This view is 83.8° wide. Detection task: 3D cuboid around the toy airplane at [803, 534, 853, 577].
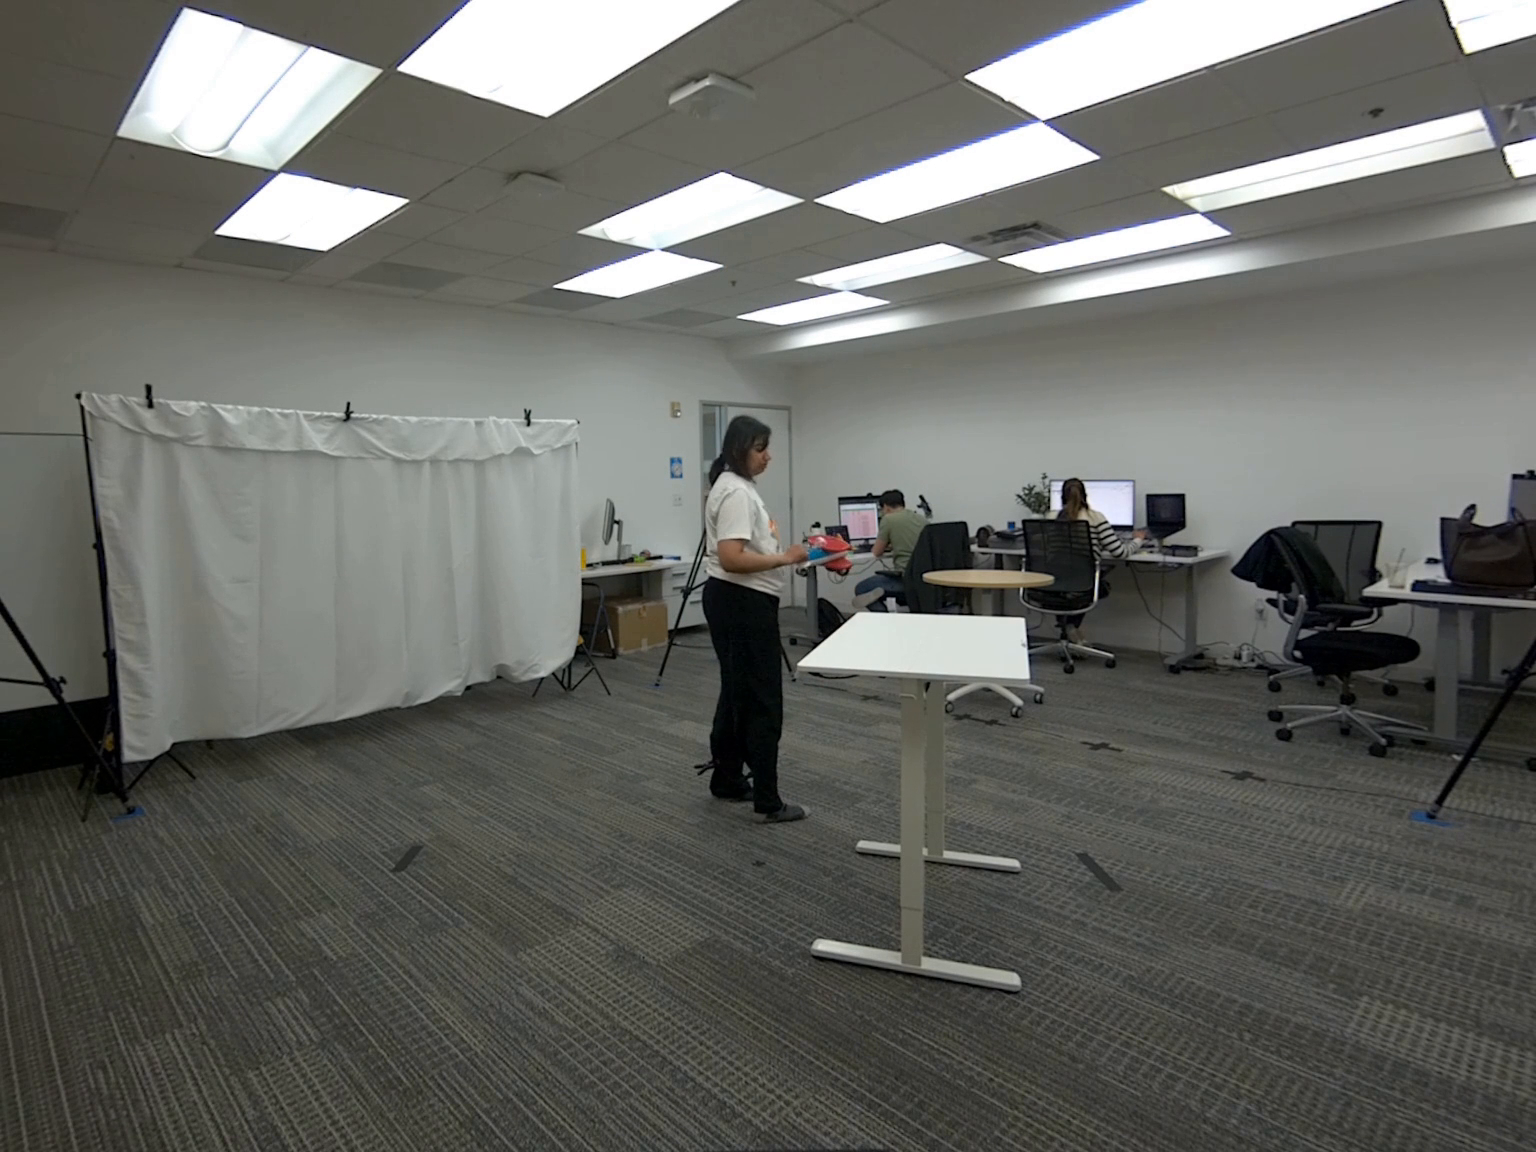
[{"bbox_3d":[0.232,-0.074,3.589,0.259,0.155,0.254,12,16,33],"label":"toy airplane"}]
